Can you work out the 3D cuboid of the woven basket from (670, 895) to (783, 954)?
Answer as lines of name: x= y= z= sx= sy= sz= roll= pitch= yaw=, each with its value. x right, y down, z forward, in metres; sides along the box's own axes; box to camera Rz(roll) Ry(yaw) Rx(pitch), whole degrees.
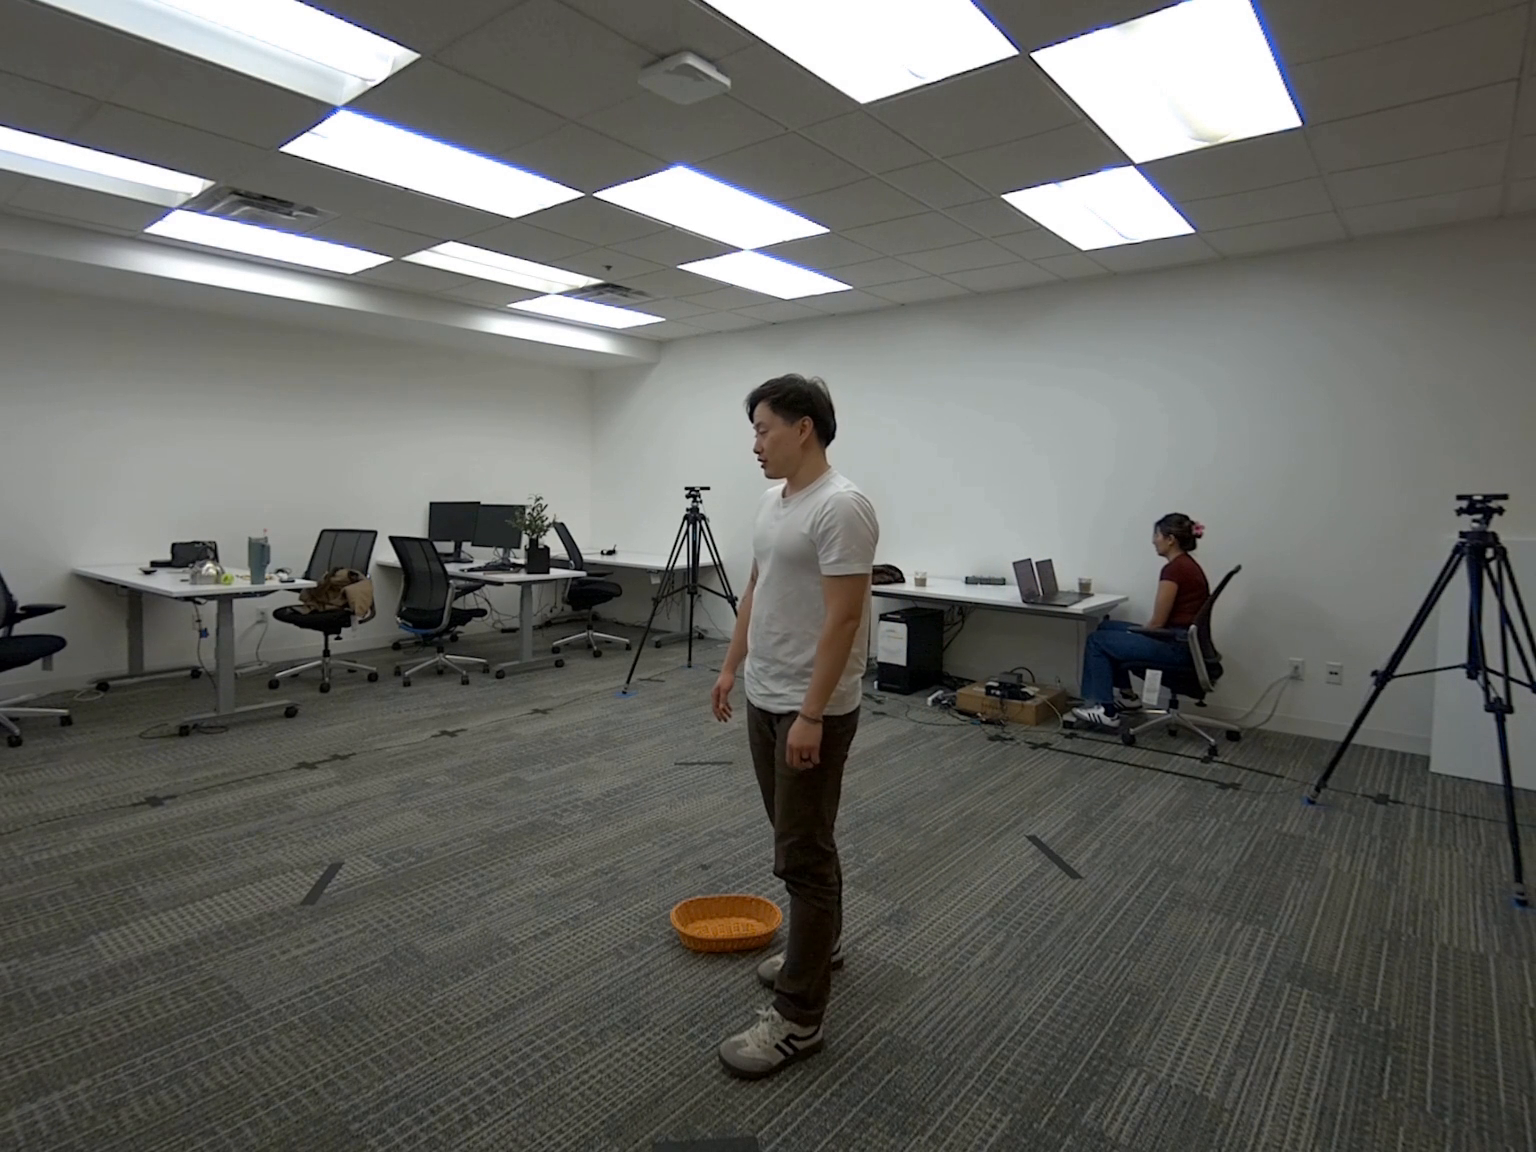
woven basket: x=-0.136 y=1.075 z=2.624 sx=0.347 sy=0.073 sz=0.256 roll=0 pitch=6 yaw=-10
